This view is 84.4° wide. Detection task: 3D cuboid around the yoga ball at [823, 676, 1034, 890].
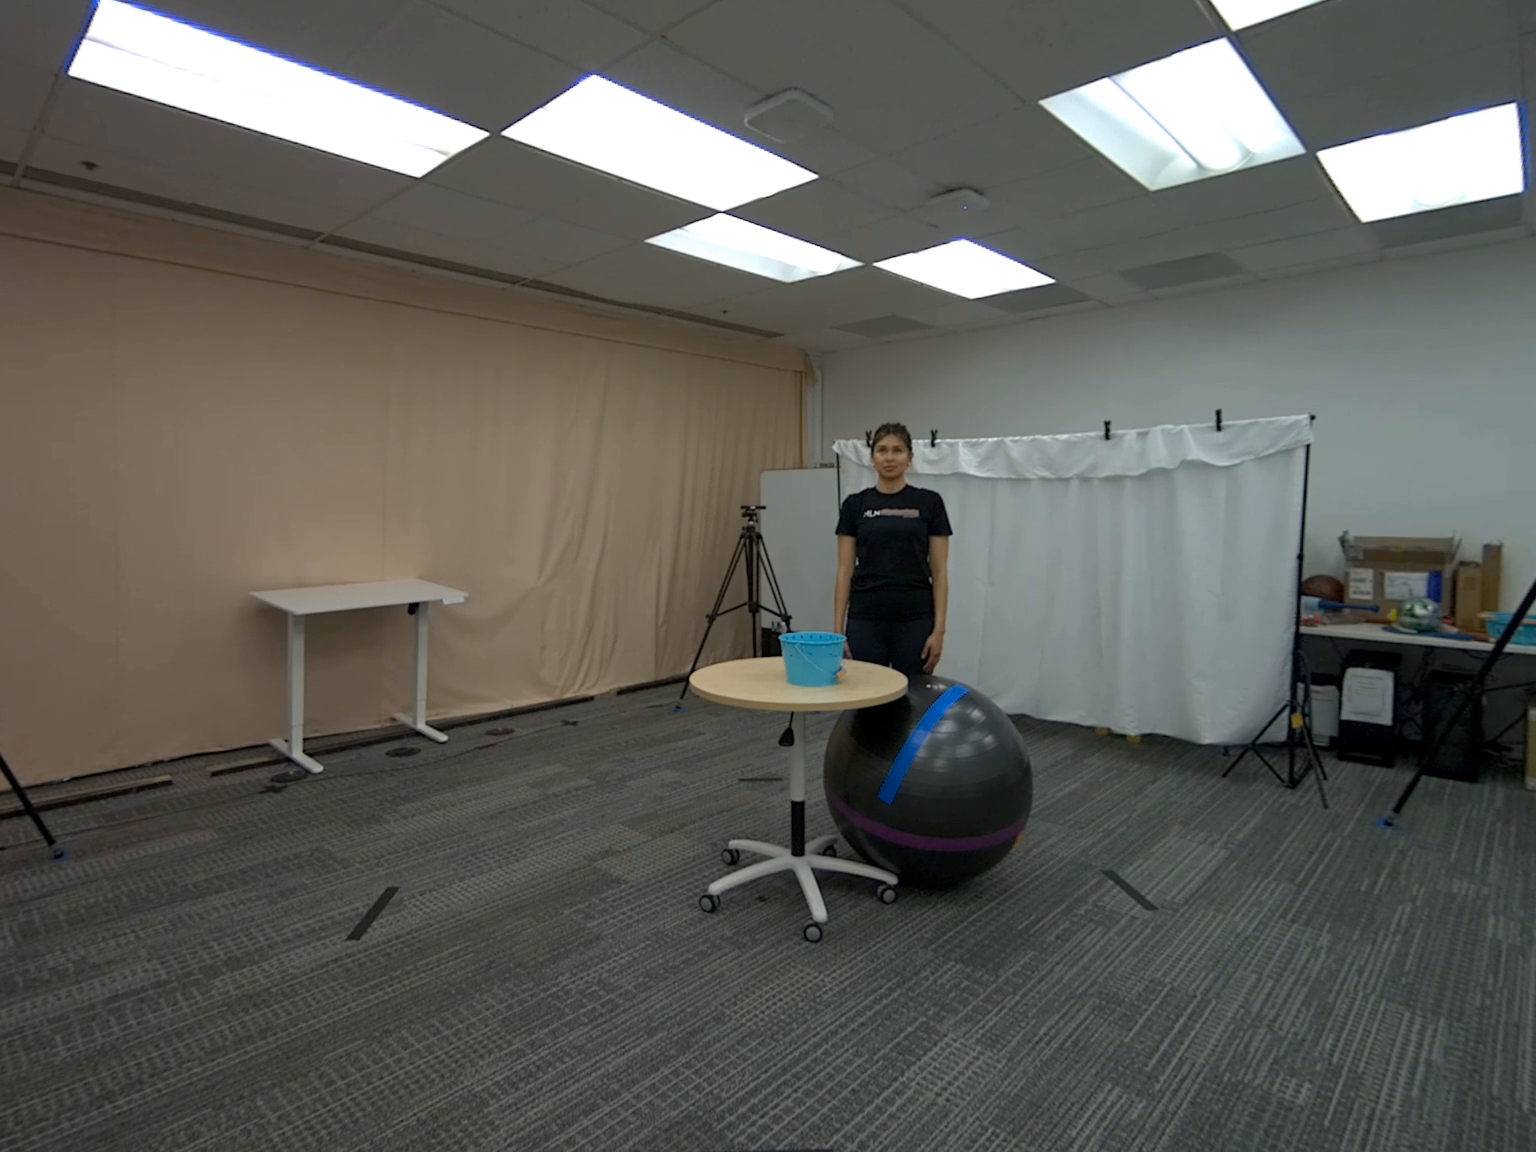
[{"bbox_3d":[0.607,0.766,3.152,0.757,0.756,0.761,0,4,-2],"label":"yoga ball"}]
